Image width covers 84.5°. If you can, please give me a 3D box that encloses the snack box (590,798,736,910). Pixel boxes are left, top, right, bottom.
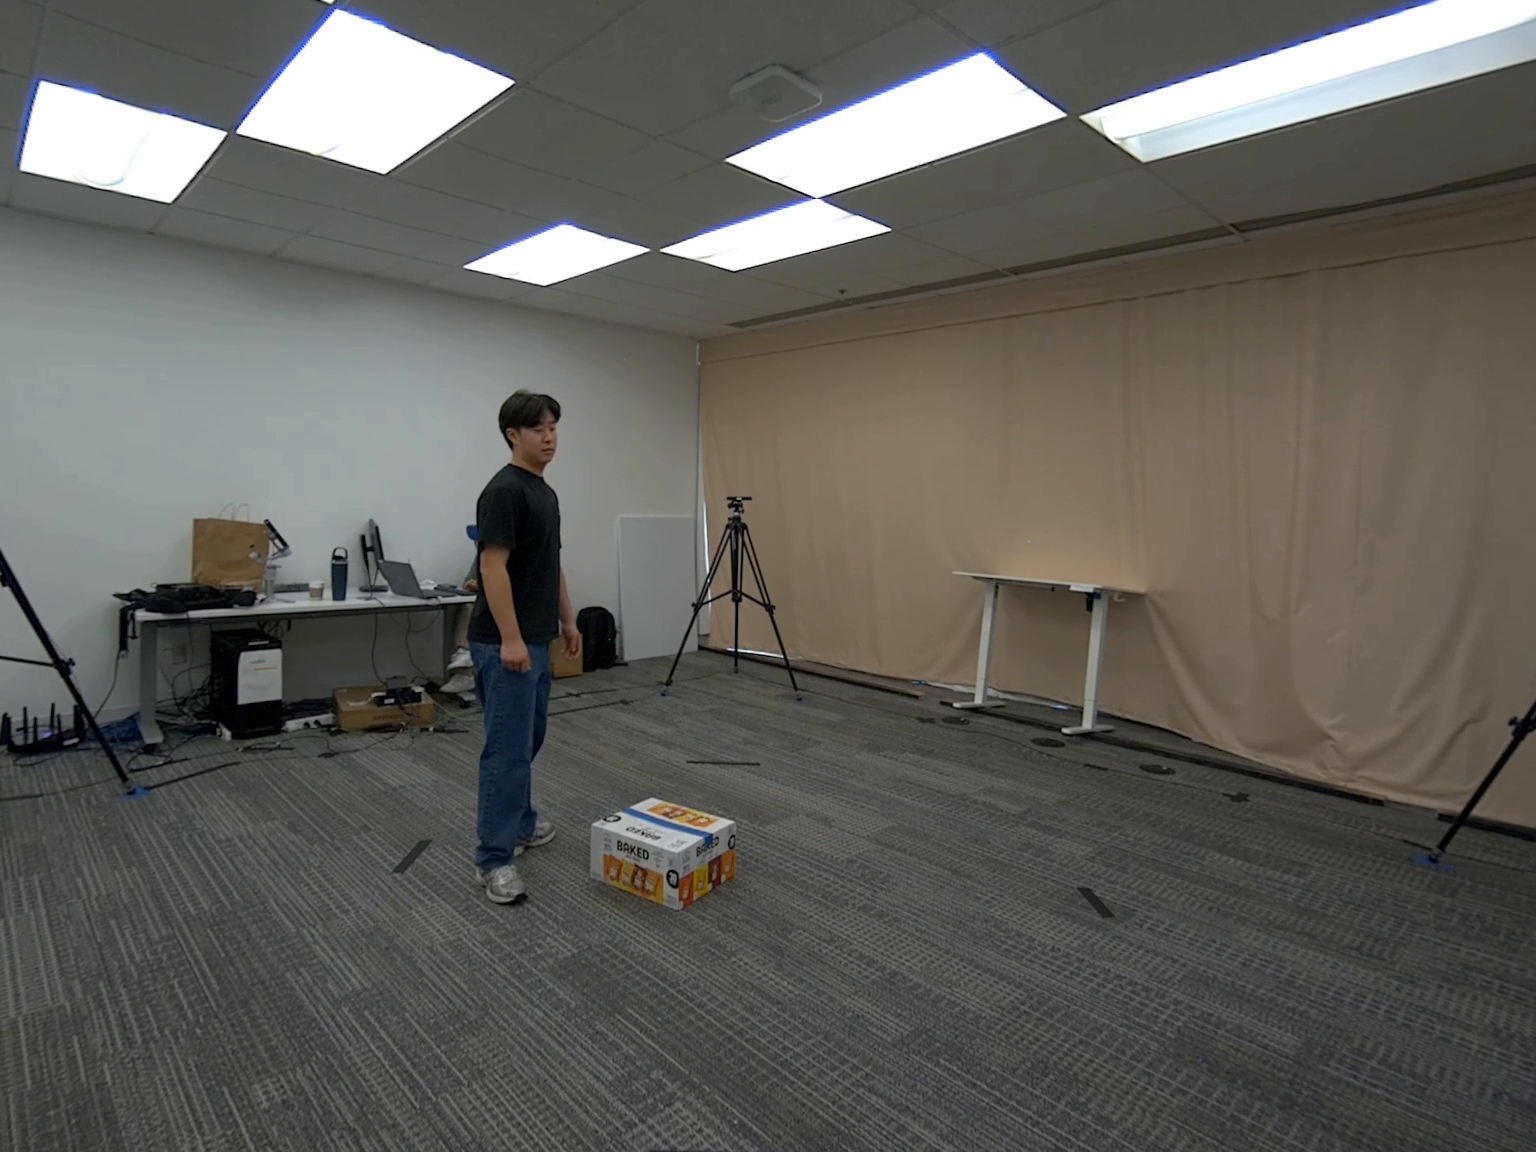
[{"bbox_3d":[-0.387,1.003,3.070,0.415,0.205,0.333,5,6,33],"label":"snack box"}]
